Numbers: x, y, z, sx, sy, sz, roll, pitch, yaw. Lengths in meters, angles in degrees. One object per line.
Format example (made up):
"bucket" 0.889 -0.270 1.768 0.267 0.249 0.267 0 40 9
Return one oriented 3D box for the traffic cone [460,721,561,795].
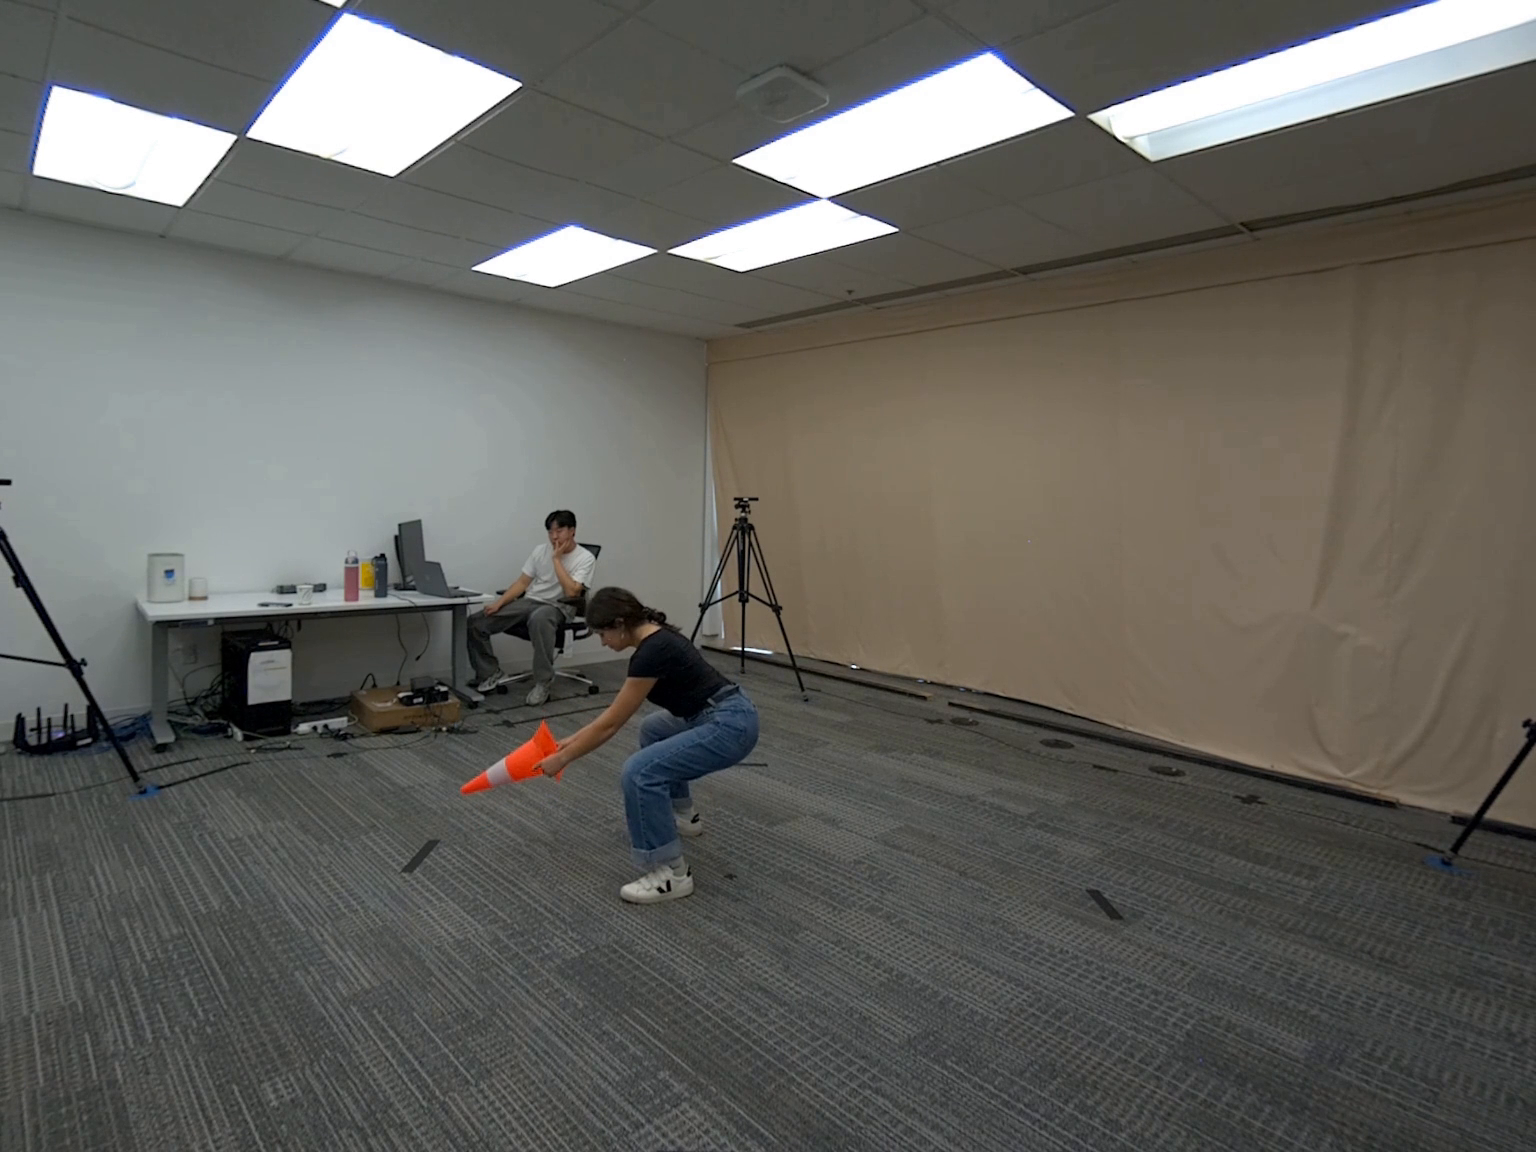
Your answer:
"traffic cone" -1.011 0.743 3.250 0.384 0.203 0.205 -24 12 1
